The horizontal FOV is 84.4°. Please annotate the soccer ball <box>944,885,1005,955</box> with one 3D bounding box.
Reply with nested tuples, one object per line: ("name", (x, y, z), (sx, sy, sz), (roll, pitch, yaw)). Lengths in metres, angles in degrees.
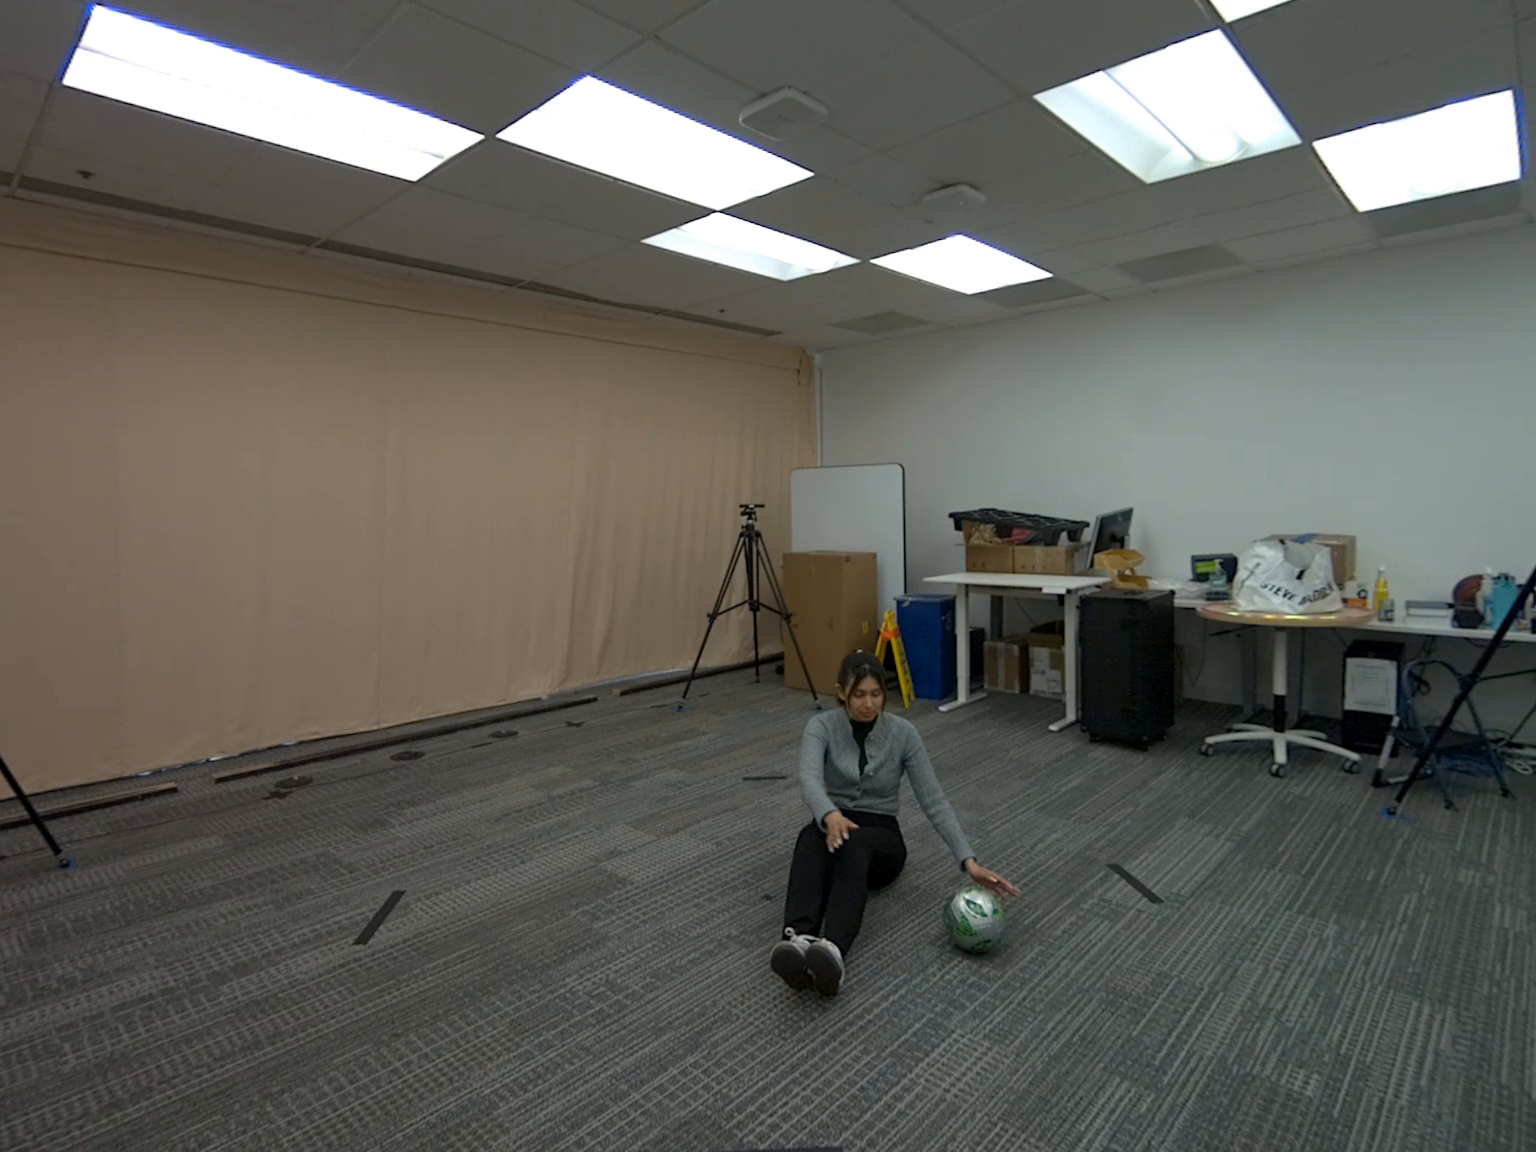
("soccer ball", (0.638, 1.060, 2.619), (0.187, 0.187, 0.188), (-1, 4, -2))
